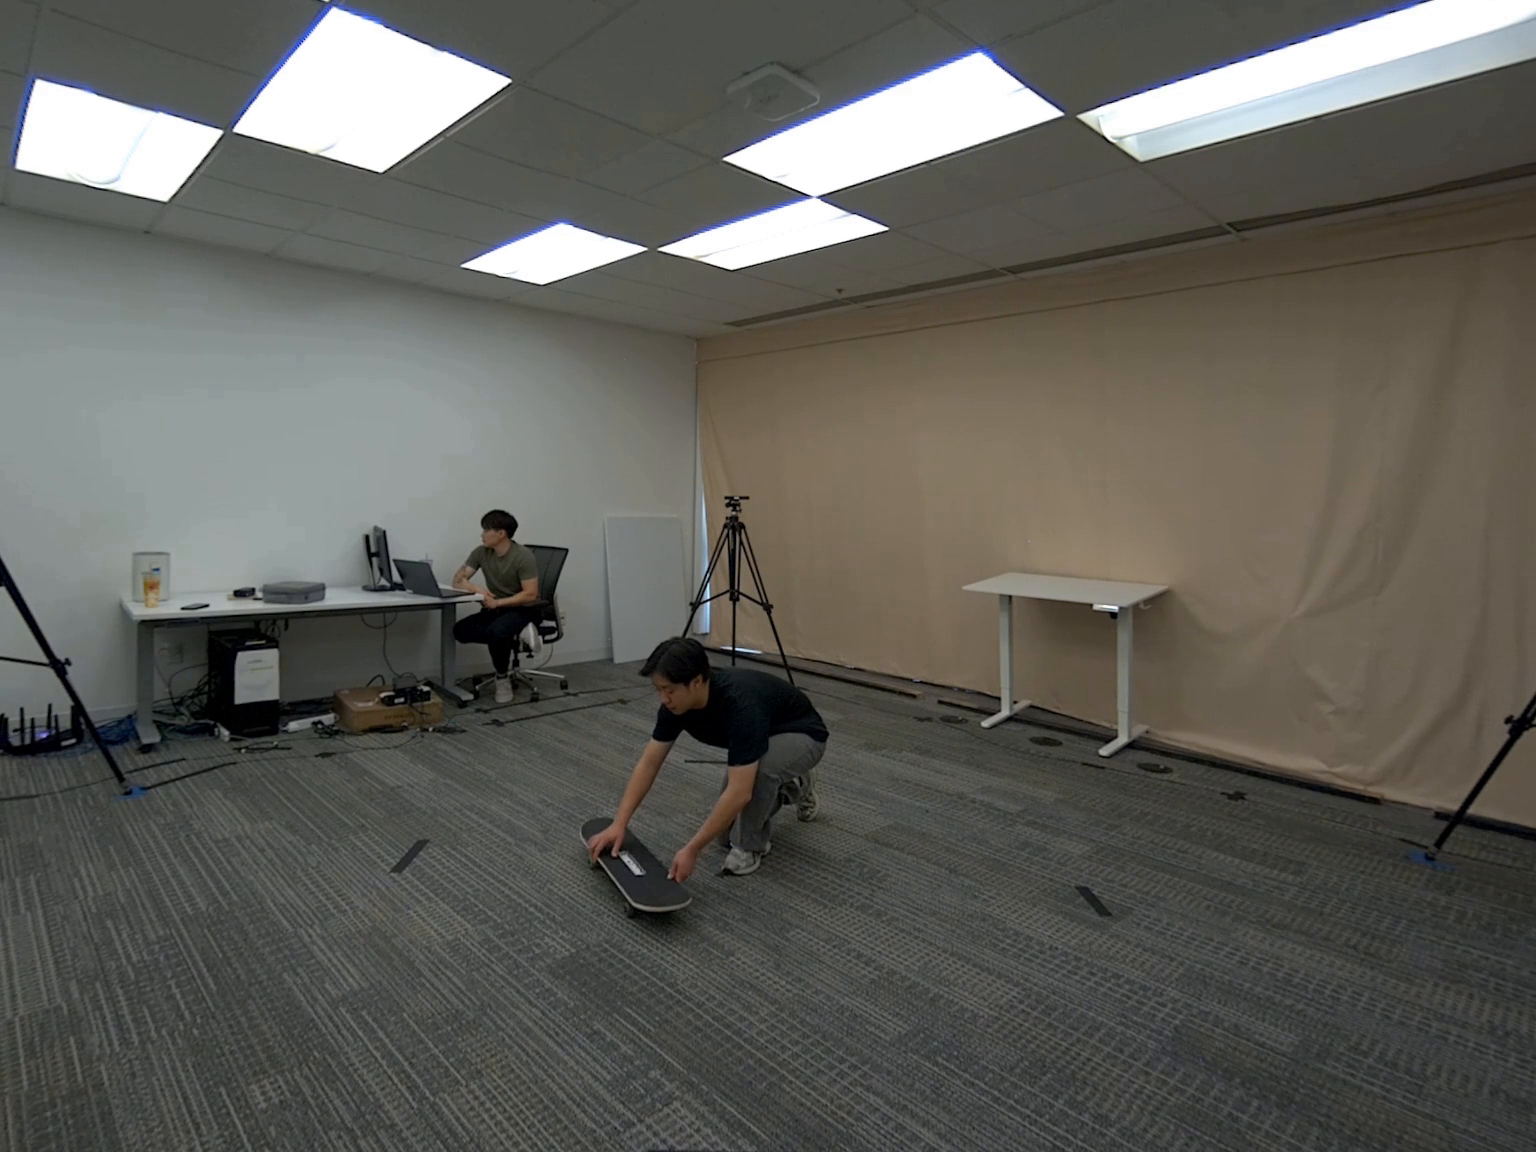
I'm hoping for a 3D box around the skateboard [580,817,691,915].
[{"bbox_3d":[-0.487,1.046,2.985,0.190,0.110,0.803,-1,5,-29],"label":"skateboard"}]
